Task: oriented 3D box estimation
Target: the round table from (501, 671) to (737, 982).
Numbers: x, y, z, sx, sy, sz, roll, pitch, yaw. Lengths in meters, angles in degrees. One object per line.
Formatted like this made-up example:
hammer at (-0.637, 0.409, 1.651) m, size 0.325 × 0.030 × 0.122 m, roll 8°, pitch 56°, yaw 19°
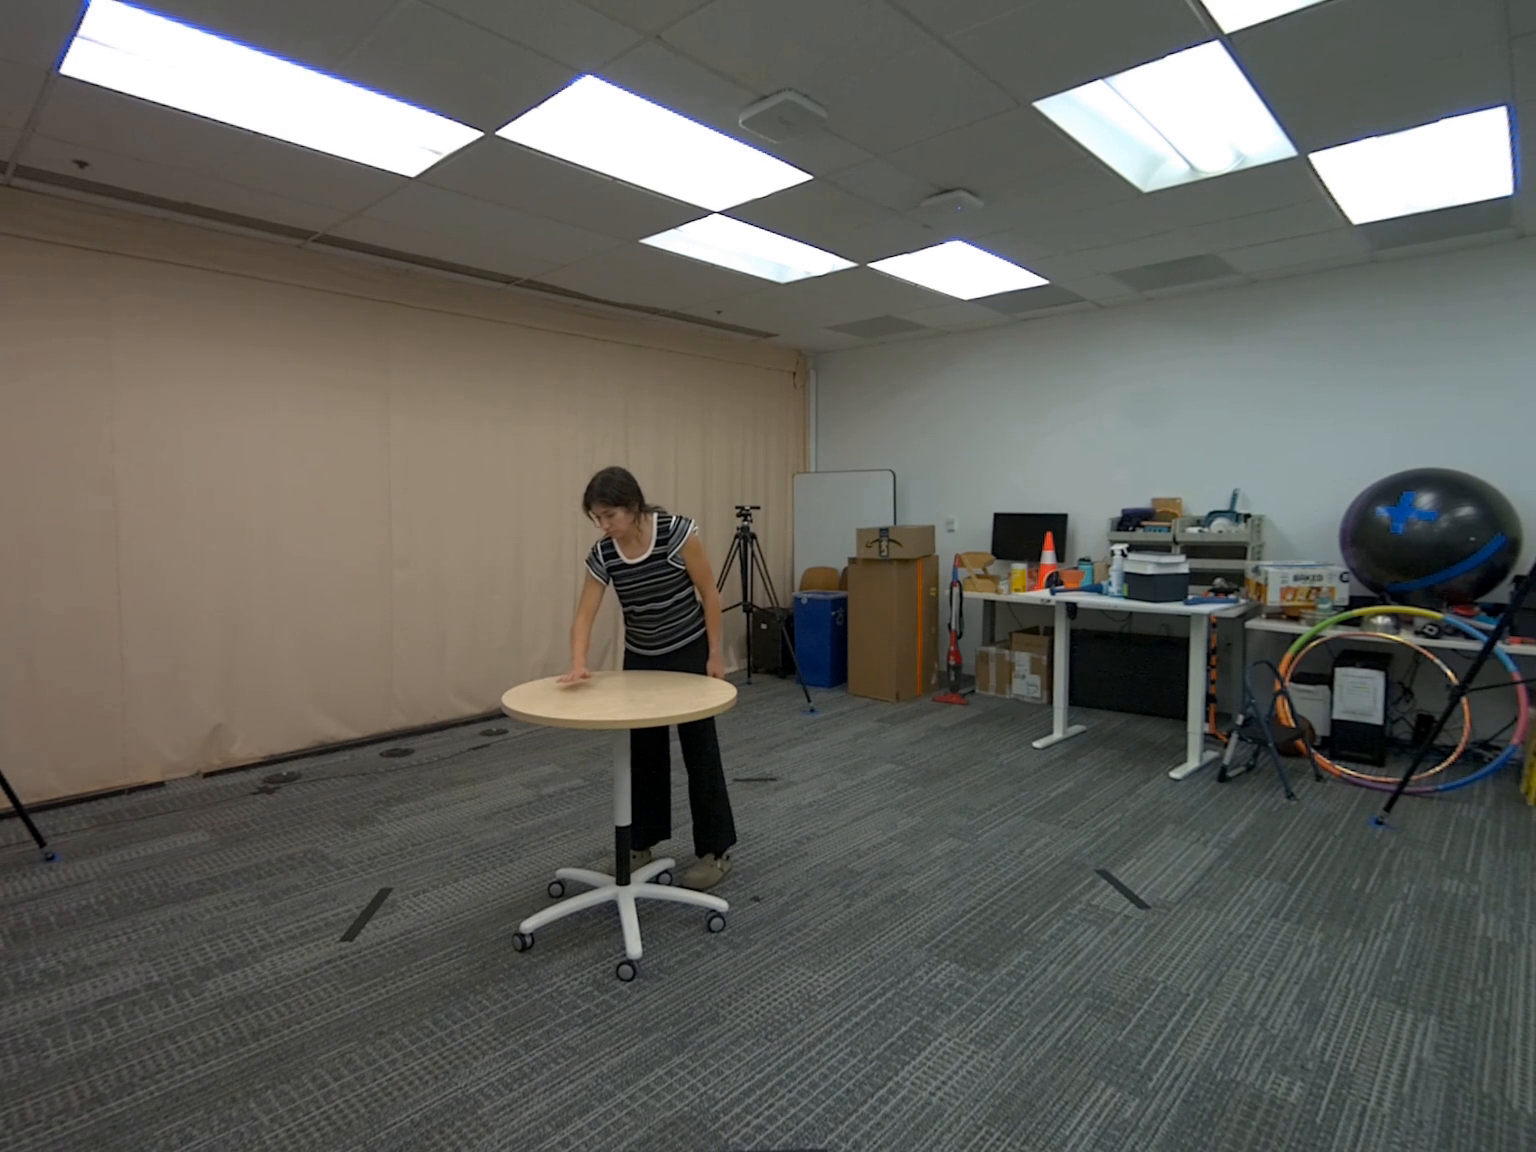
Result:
round table at (-0.486, 0.776, 2.782) m, size 0.763 × 0.792 × 0.766 m, roll -1°, pitch 3°, yaw -2°
